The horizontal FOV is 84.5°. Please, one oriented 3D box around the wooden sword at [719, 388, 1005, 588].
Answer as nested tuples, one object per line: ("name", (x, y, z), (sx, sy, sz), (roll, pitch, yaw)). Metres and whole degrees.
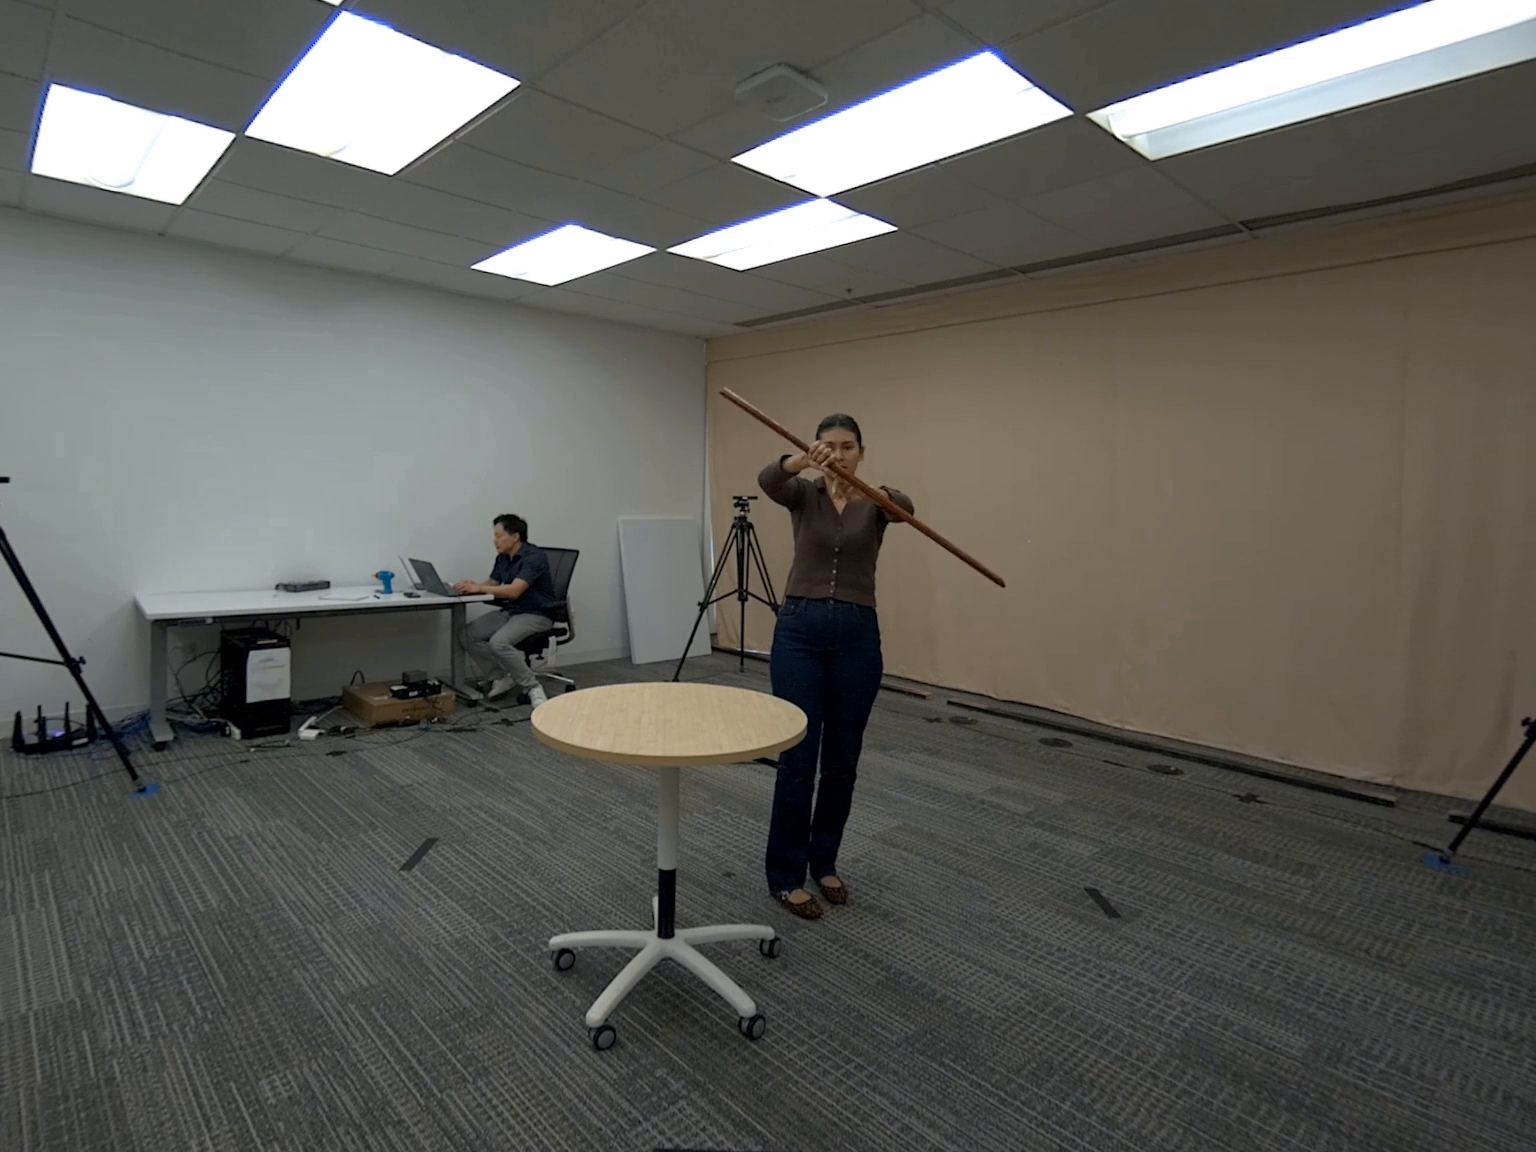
("wooden sword", (0.236, -0.274, 2.446), (1.043, 0.051, 0.023), (39, -10, 17))
